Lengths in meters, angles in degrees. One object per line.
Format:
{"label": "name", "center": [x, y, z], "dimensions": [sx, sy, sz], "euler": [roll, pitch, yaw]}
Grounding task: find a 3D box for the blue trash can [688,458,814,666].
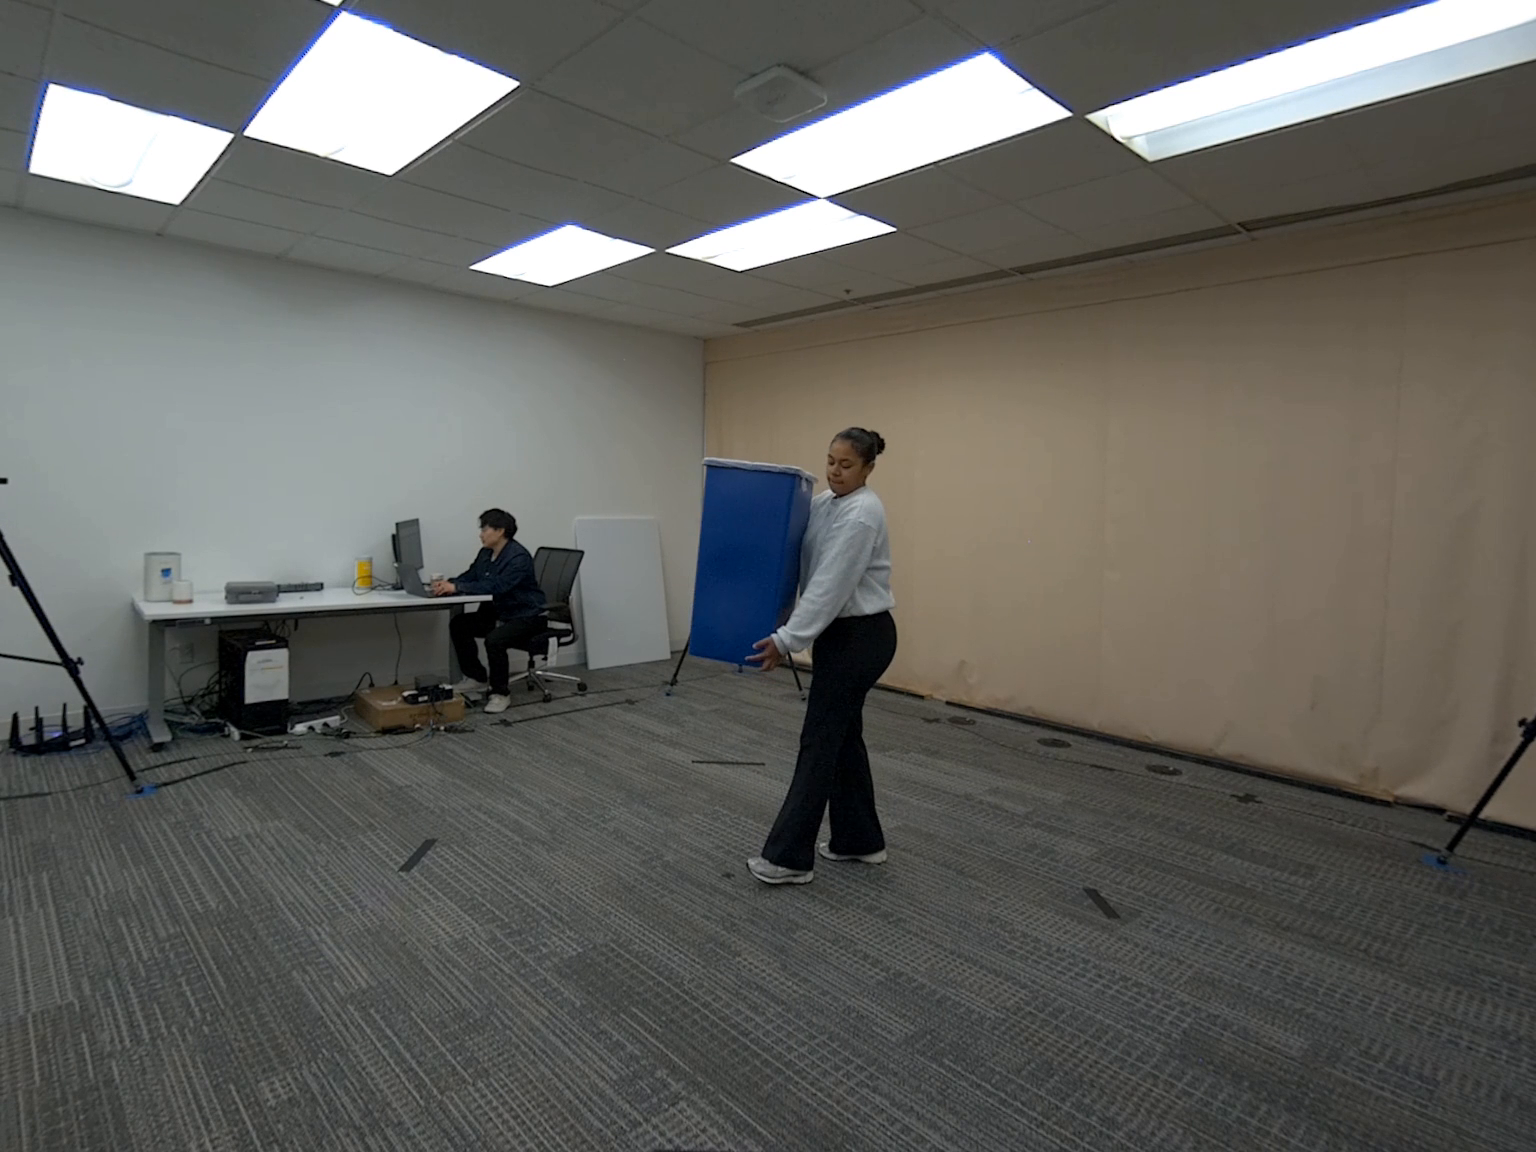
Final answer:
{"label": "blue trash can", "center": [-0.072, -0.052, 3.133], "dimensions": [0.383, 0.713, 0.369], "euler": [8, 2, 16]}
